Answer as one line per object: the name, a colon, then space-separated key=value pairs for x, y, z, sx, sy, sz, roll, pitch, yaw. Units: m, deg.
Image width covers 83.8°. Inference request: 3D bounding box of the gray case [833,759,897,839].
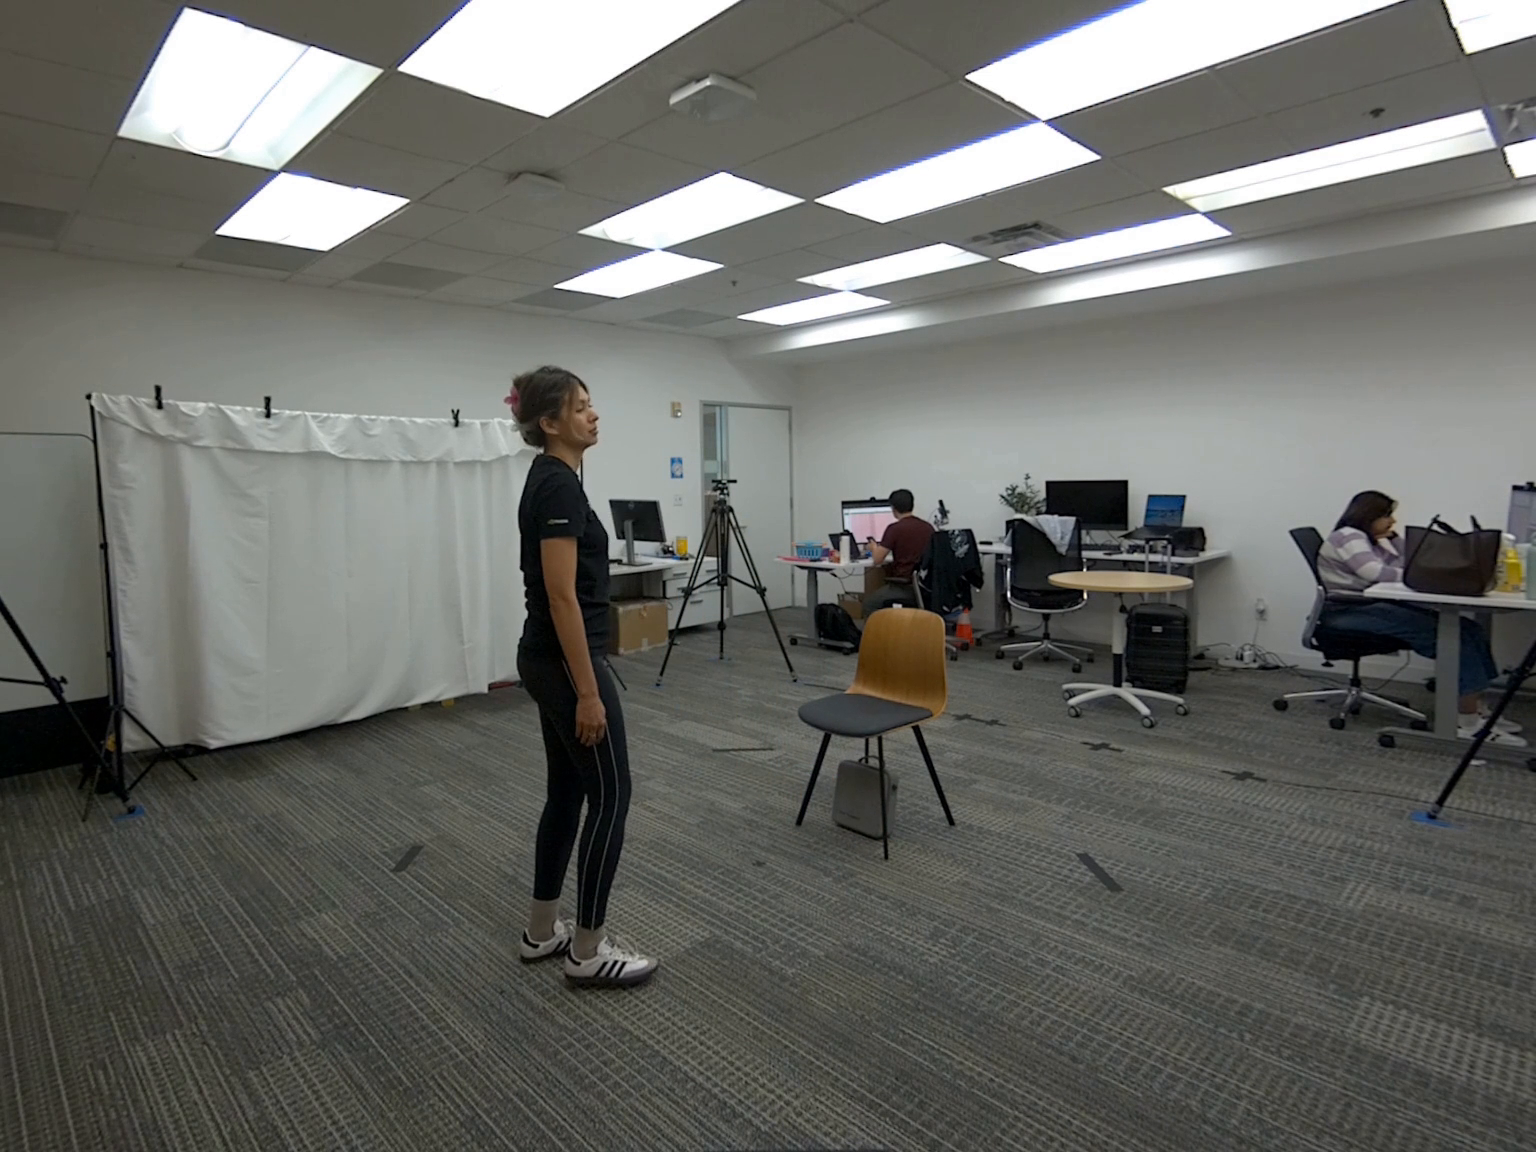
gray case: x=0.386 y=0.879 z=3.397 sx=0.101 sy=0.261 sz=0.265 roll=9 pitch=-3 yaw=-40
